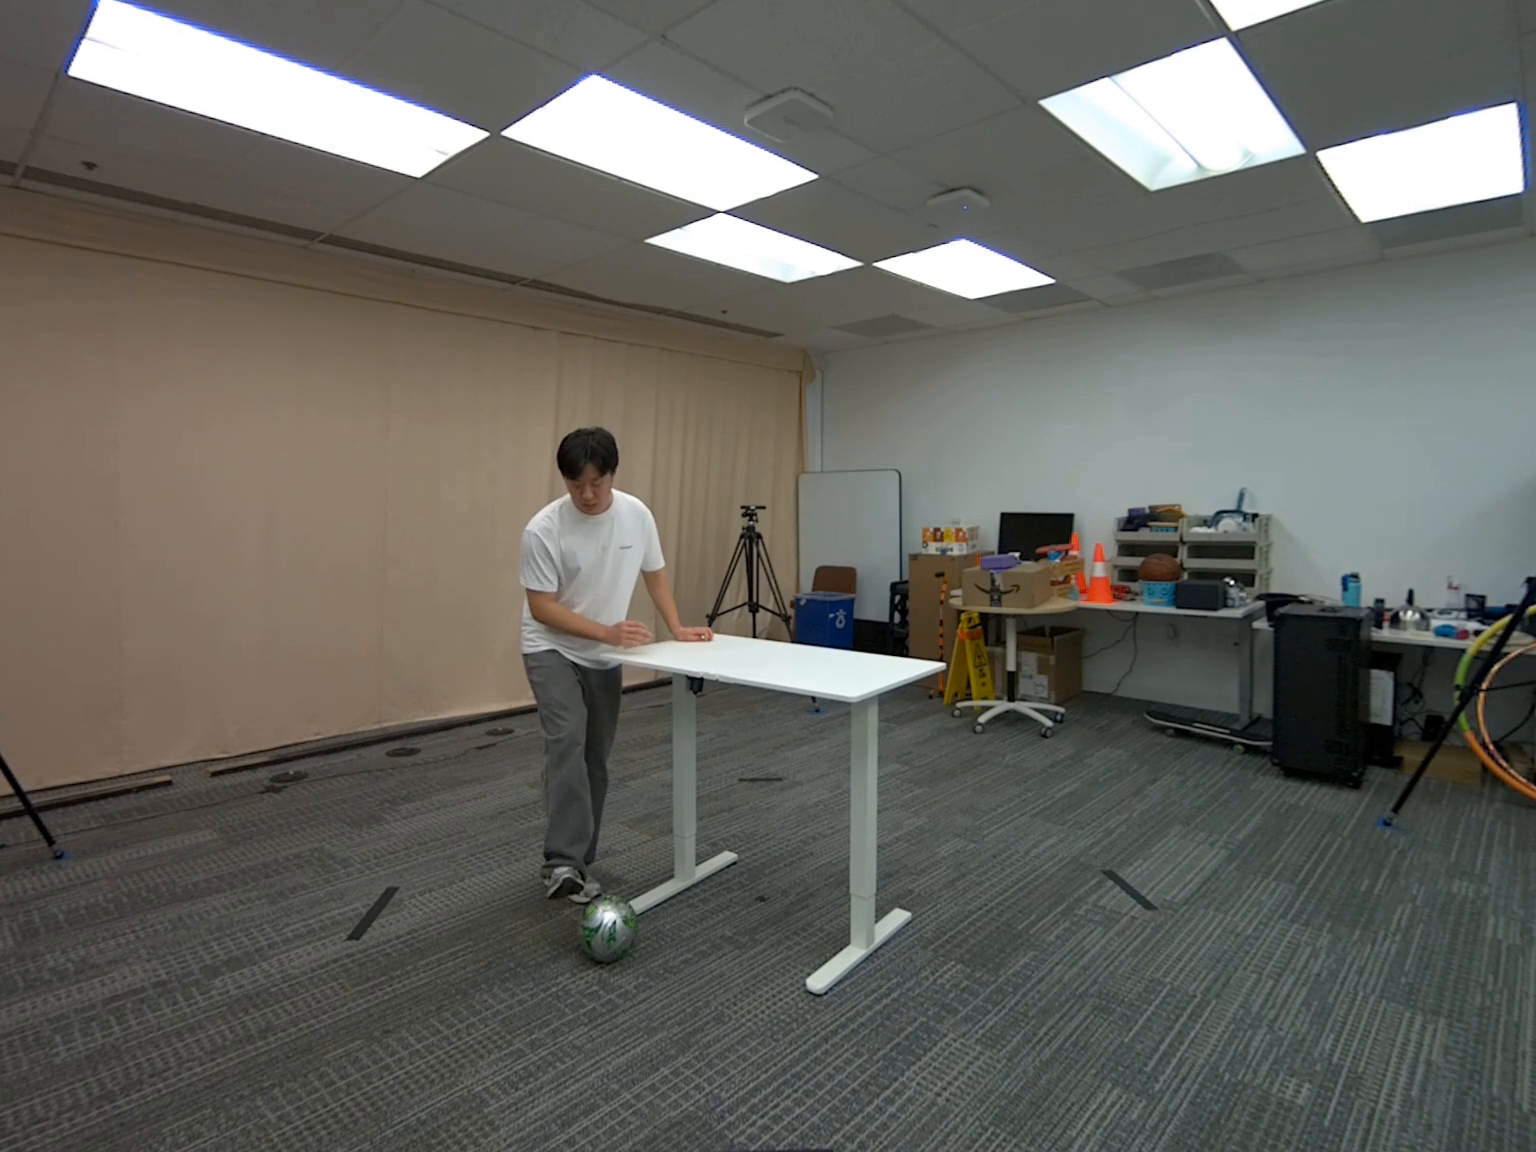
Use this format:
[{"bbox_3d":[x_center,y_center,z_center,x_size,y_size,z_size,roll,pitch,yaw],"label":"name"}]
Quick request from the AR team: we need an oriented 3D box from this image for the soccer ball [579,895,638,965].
[{"bbox_3d":[-0.492,1.085,2.591,0.187,0.187,0.188,0,4,-2],"label":"soccer ball"}]
